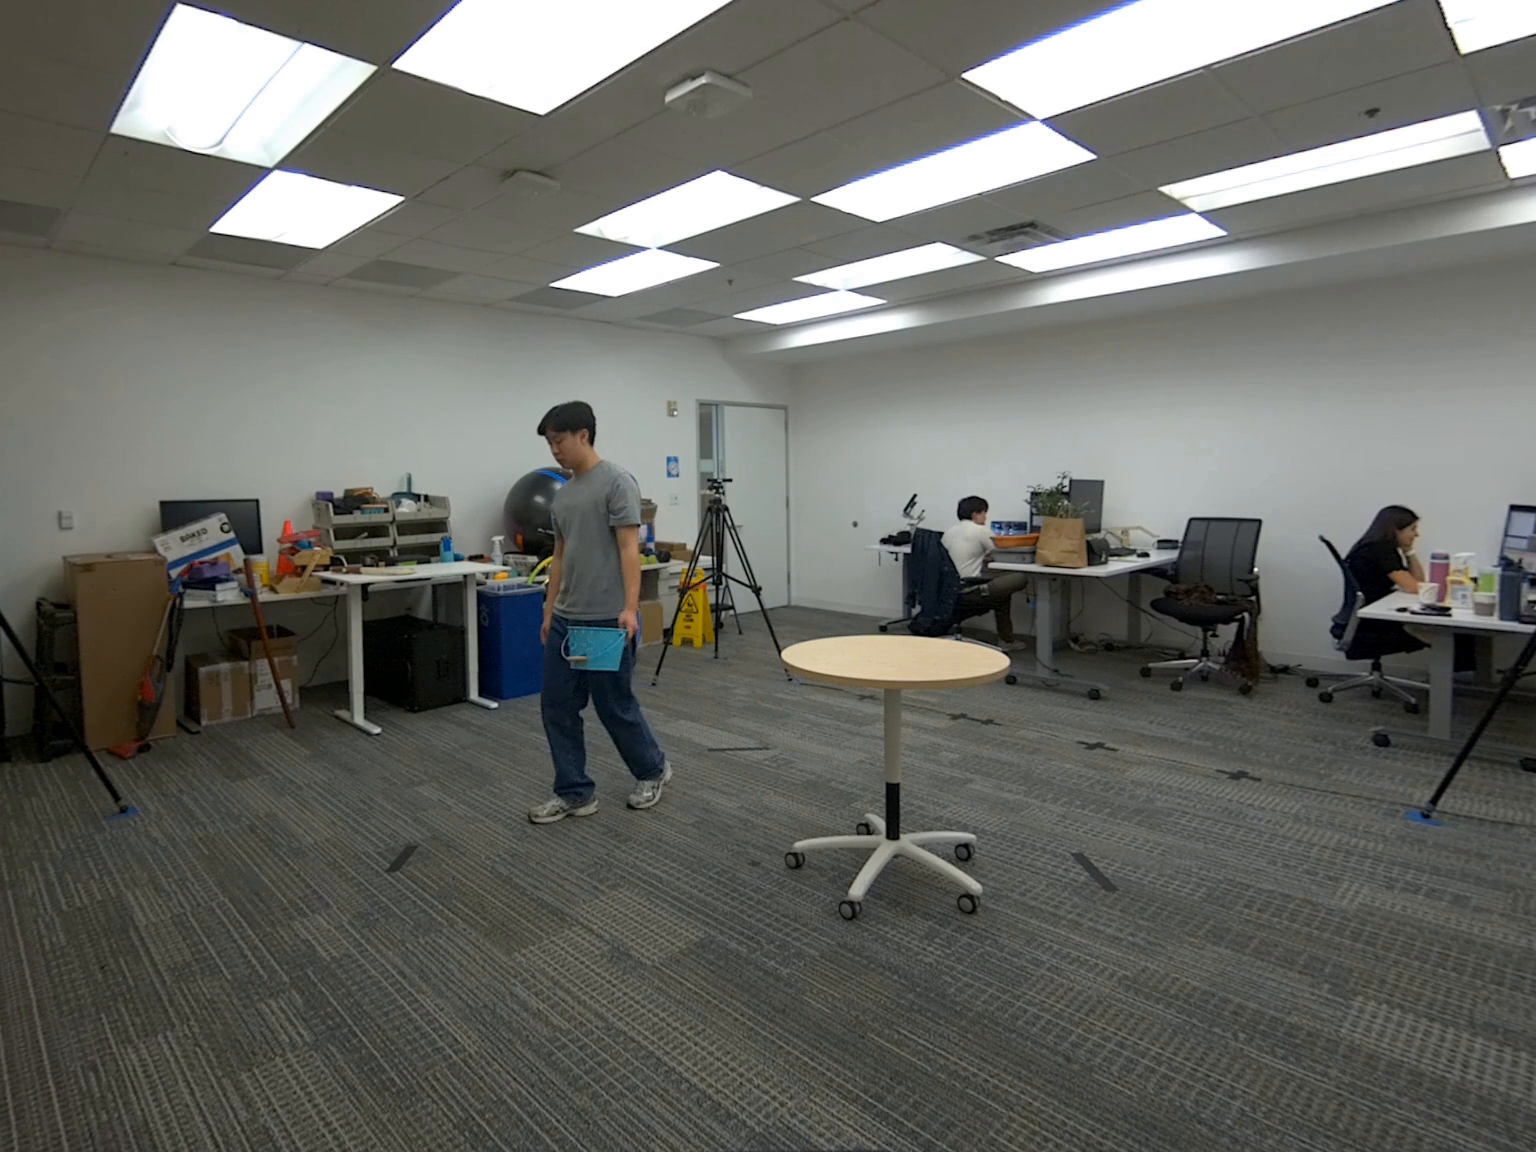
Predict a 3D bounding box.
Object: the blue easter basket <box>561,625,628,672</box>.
[{"bbox_3d":[-0.676,0.275,3.227,0.243,0.157,0.242,3,-5,-1],"label":"blue easter basket"}]
